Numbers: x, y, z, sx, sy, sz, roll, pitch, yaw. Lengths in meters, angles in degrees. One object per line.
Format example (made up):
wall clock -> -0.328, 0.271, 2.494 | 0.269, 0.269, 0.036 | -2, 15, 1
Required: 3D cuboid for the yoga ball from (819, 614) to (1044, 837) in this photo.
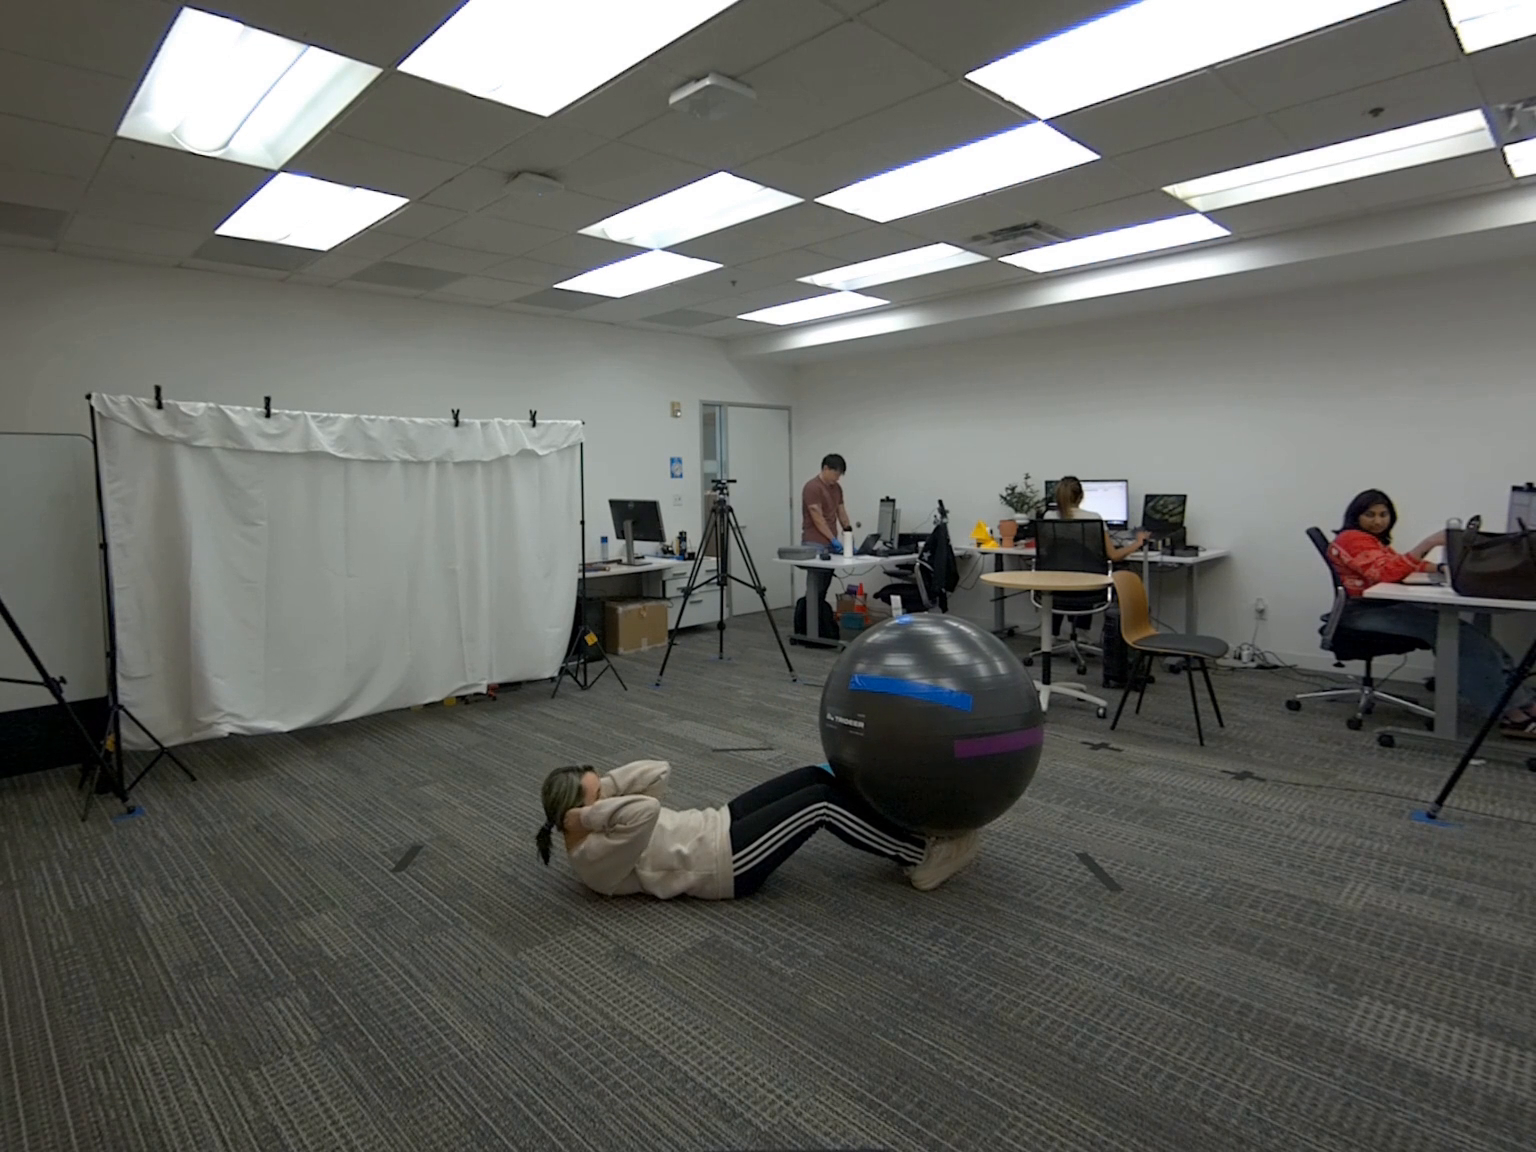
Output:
yoga ball -> 0.567, 0.511, 2.988 | 0.757, 0.755, 0.762 | -1, 5, -2
